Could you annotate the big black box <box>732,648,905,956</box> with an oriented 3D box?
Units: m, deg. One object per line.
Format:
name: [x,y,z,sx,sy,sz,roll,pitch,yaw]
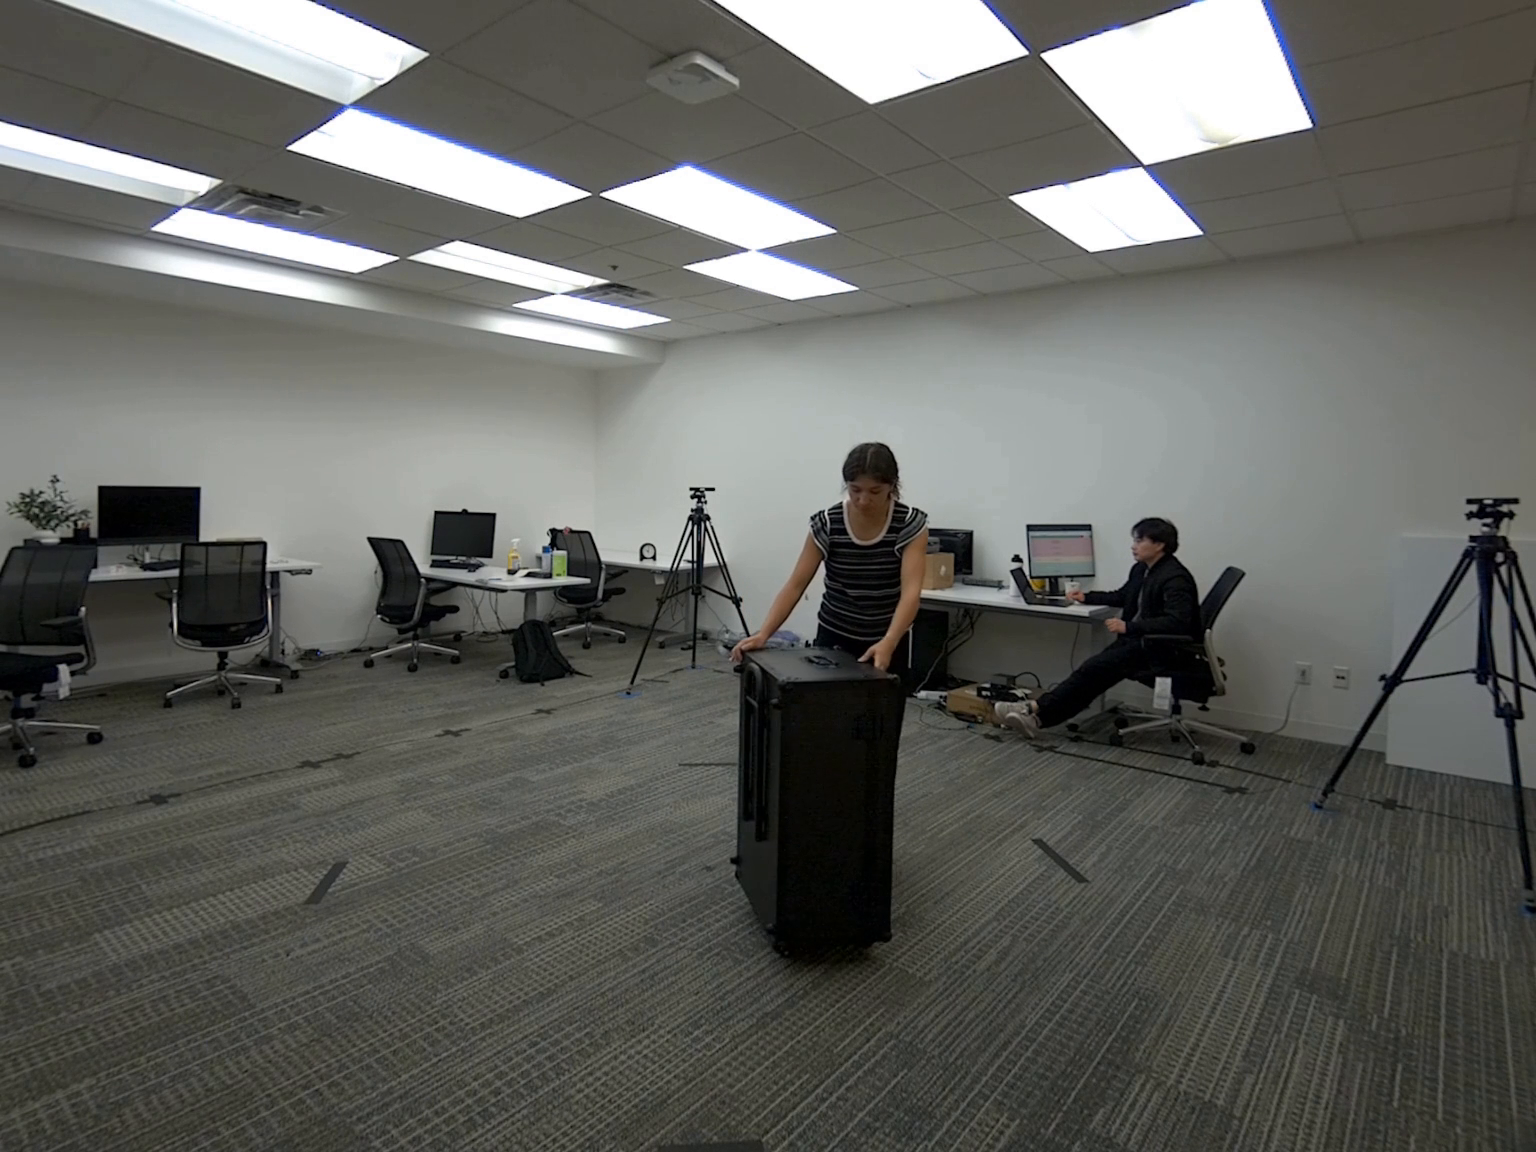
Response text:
big black box: [0.116,0.690,2.667,0.391,0.859,0.530,0,4,-14]
